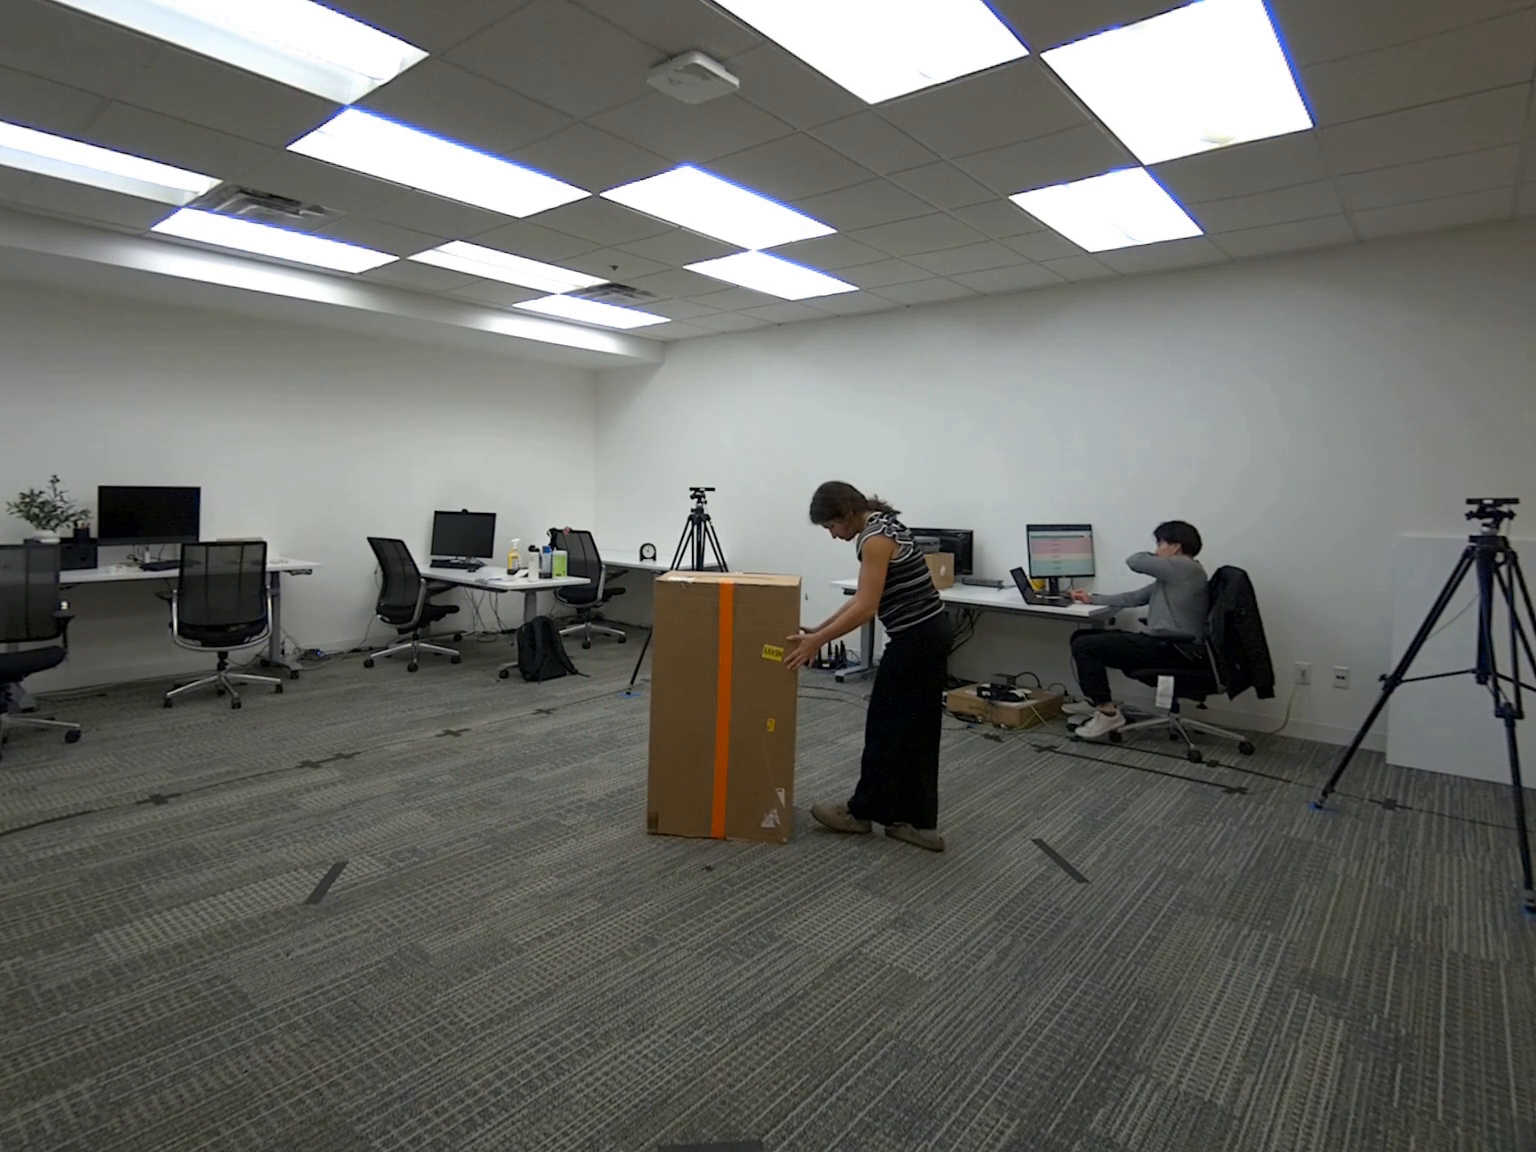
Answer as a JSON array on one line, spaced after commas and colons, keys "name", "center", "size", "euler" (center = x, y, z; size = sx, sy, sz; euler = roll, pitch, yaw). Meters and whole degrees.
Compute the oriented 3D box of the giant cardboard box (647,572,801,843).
[{"name": "giant cardboard box", "center": [-0.188, 0.512, 3.562], "size": [0.581, 1.023, 0.425], "euler": [2, 3, 5]}]
